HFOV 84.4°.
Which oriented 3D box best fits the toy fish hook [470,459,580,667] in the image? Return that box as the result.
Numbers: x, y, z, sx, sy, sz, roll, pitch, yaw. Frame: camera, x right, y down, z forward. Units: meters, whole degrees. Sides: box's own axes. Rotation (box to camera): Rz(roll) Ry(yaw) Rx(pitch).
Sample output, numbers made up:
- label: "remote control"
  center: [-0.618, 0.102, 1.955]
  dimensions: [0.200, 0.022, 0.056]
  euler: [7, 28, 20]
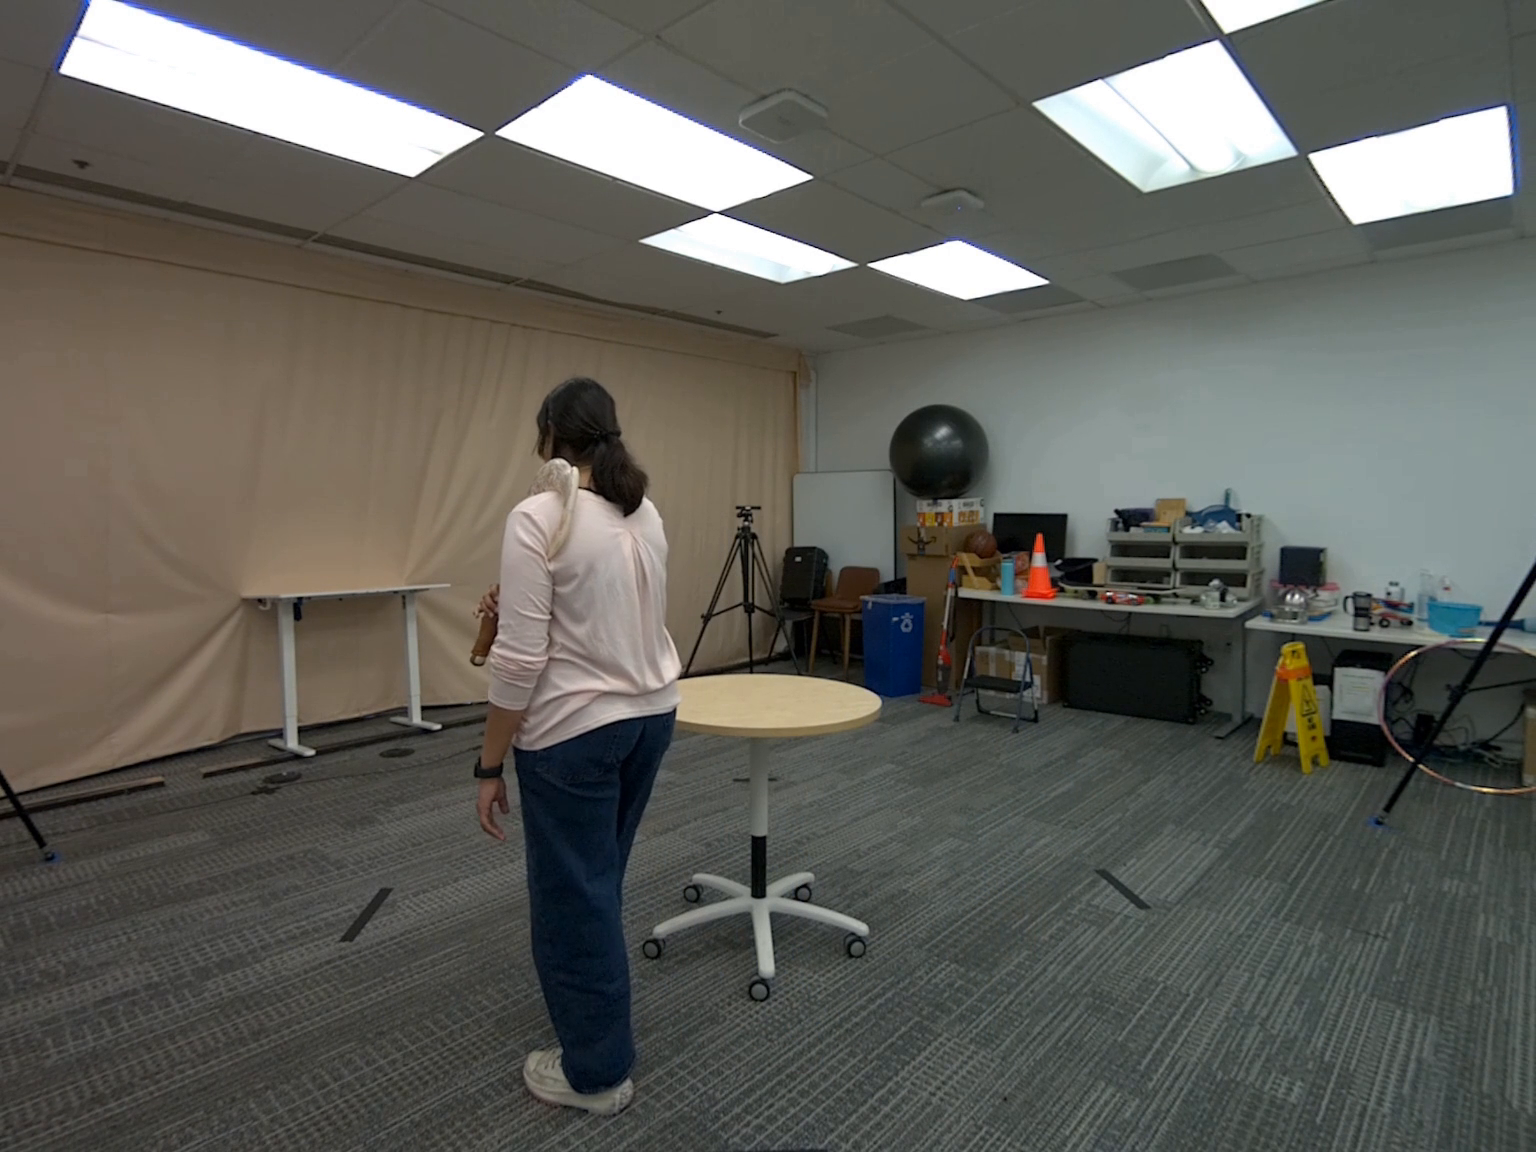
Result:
- label: "toy fish hook"
  center: [-0.526, -0.009, 1.839]
  dimensions: [0.047, 0.506, 0.232]
  euler: [18, 9, -35]
